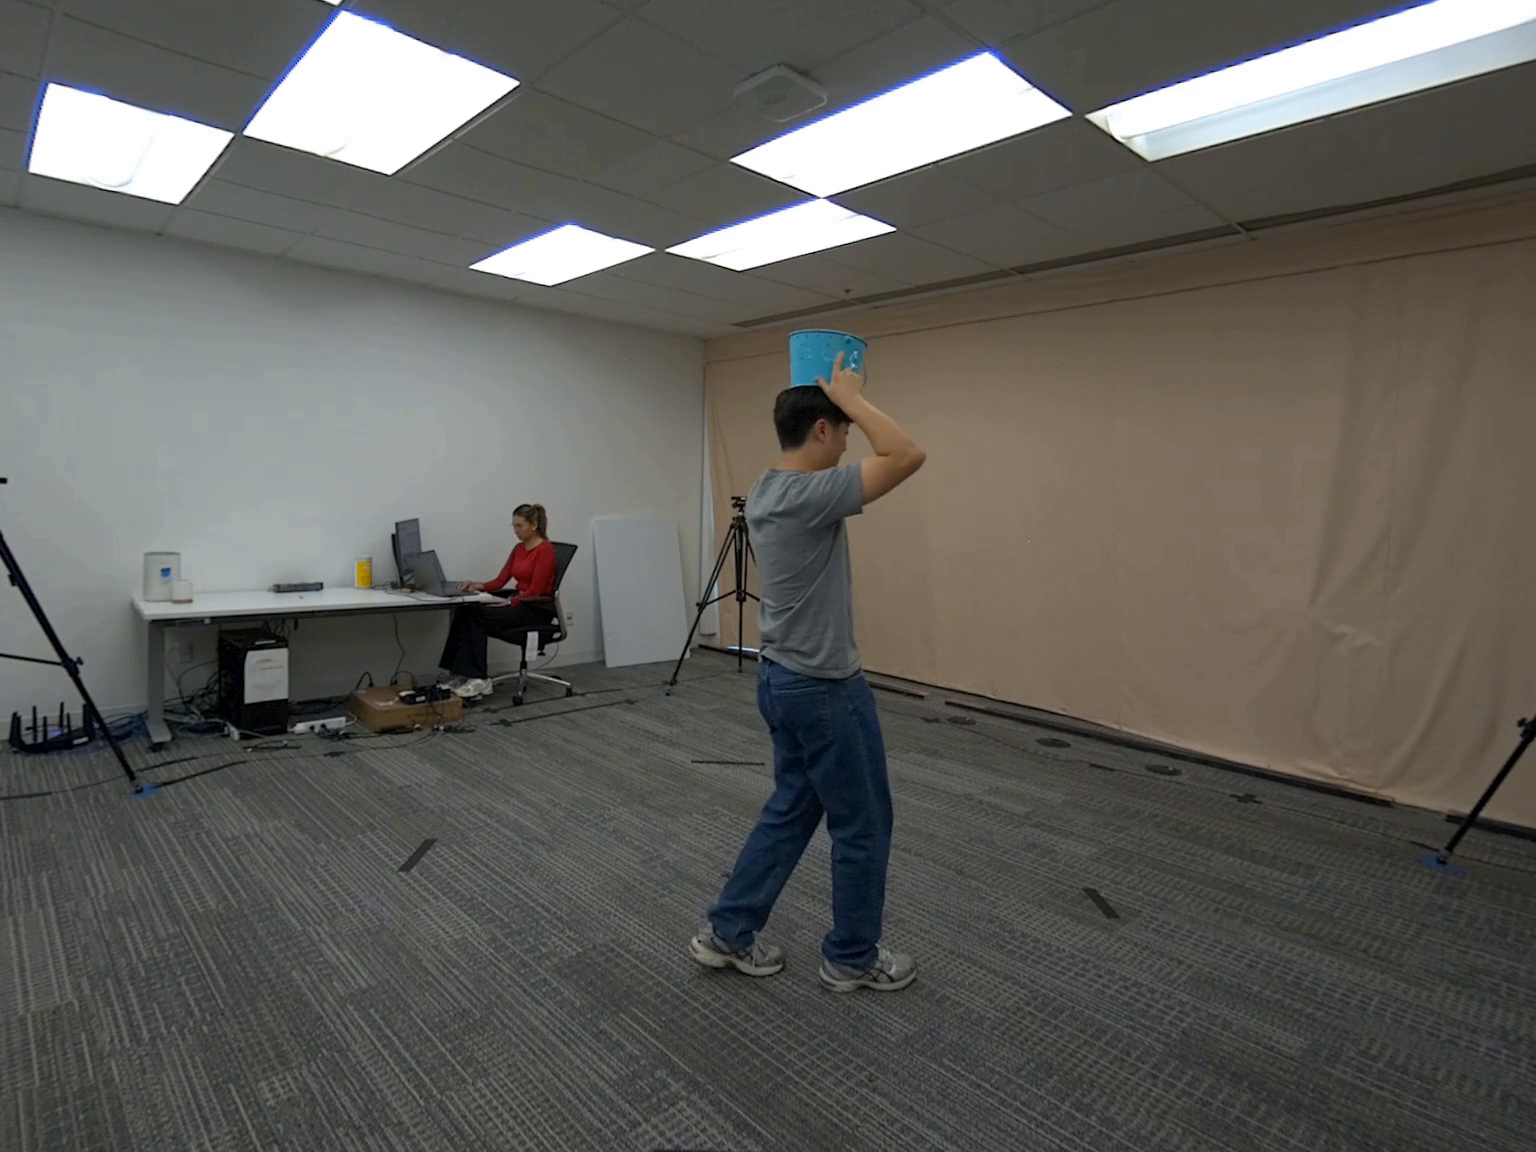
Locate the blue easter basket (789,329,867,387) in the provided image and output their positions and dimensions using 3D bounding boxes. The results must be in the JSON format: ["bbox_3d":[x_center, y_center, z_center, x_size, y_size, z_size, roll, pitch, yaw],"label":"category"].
[{"bbox_3d":[0.165,-0.609,2.443,0.243,0.156,0.244,10,1,-2],"label":"blue easter basket"}]
